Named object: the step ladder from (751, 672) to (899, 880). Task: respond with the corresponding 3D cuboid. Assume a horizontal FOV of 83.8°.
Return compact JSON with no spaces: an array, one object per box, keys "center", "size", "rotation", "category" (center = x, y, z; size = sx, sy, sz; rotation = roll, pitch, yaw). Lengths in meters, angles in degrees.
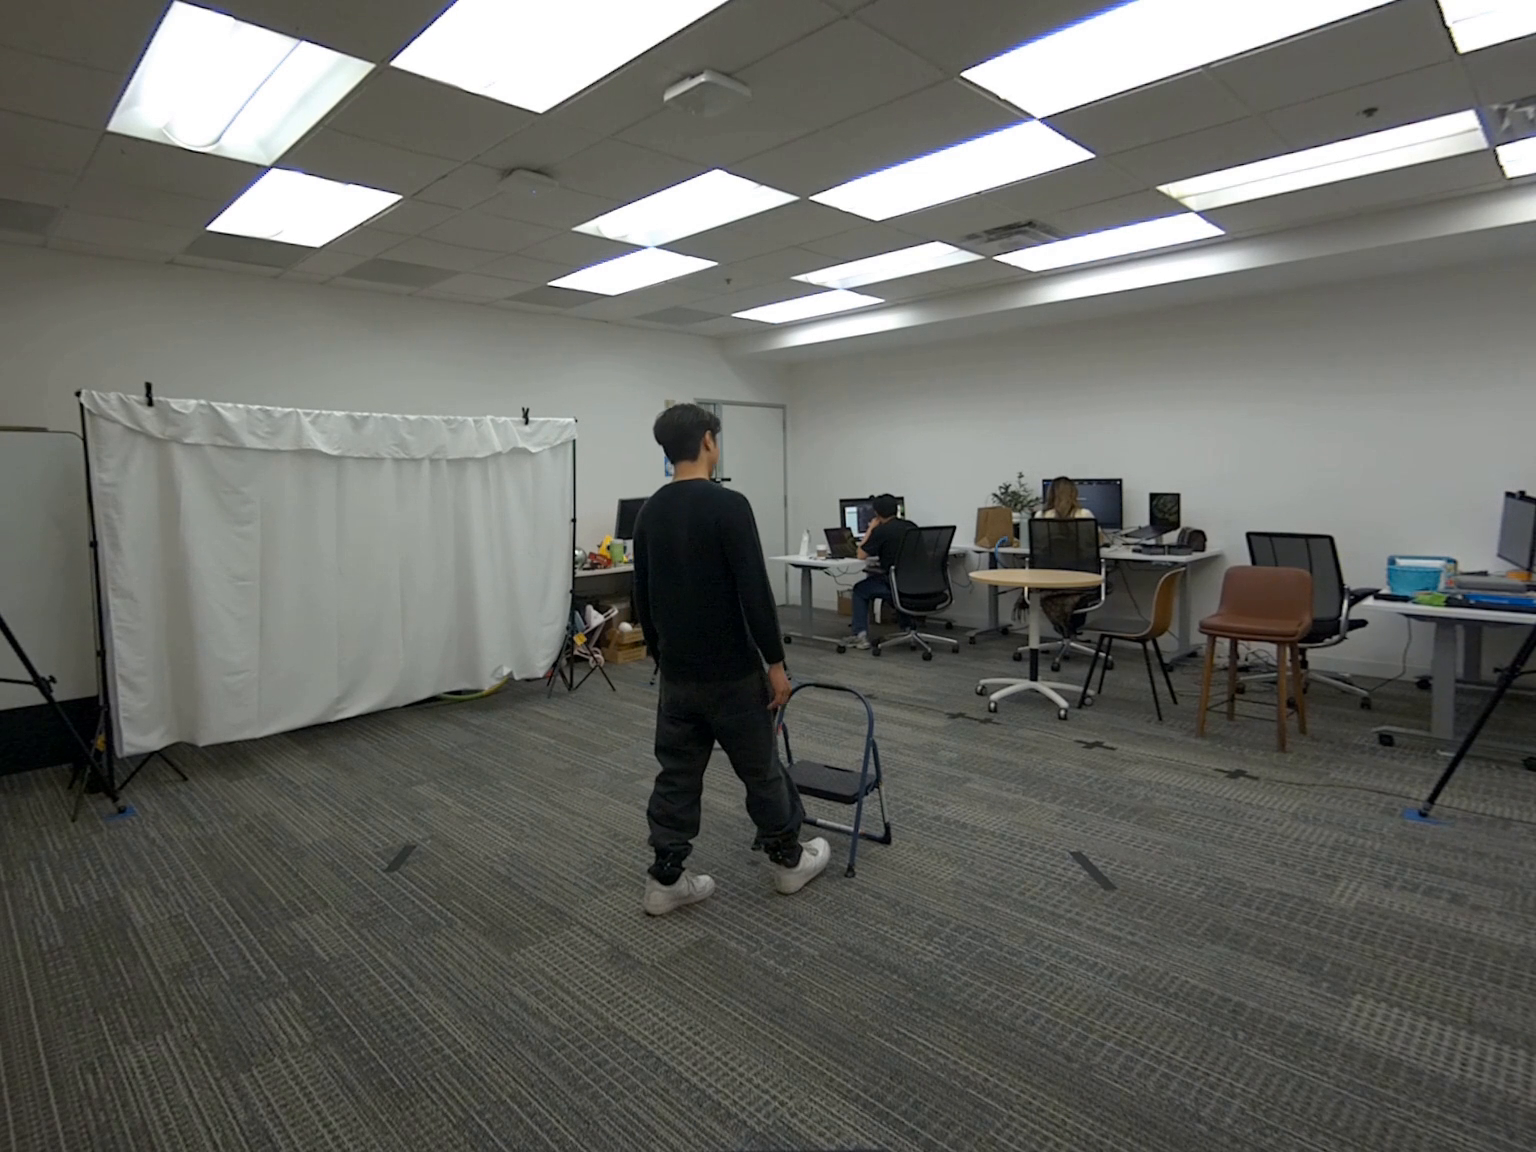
[{"center":[0.210,0.721,3.220],"size":[0.443,0.604,0.341],"rotation":[2,5,35],"category":"step ladder"}]
